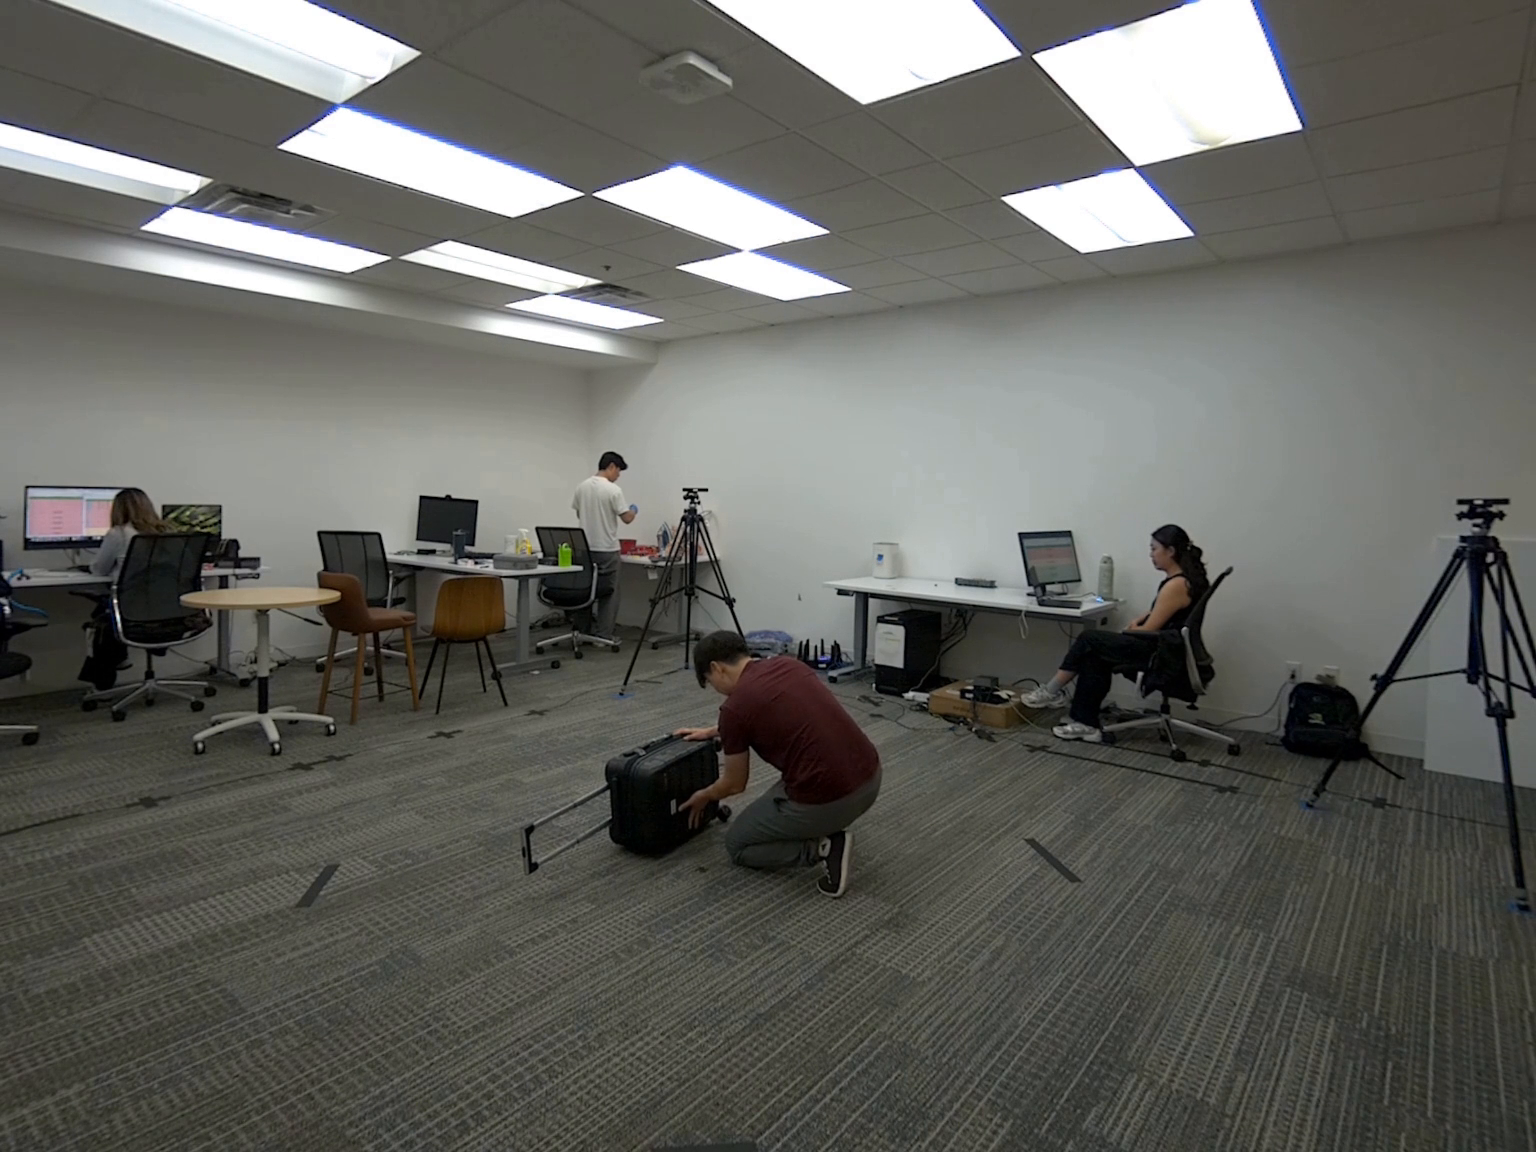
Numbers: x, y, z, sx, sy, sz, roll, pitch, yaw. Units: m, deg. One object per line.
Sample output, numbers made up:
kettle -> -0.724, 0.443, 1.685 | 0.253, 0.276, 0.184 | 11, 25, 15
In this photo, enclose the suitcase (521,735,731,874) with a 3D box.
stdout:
suitcase -> -0.518, 0.868, 3.232 | 0.264, 0.383, 0.955 | -2, 4, 28
